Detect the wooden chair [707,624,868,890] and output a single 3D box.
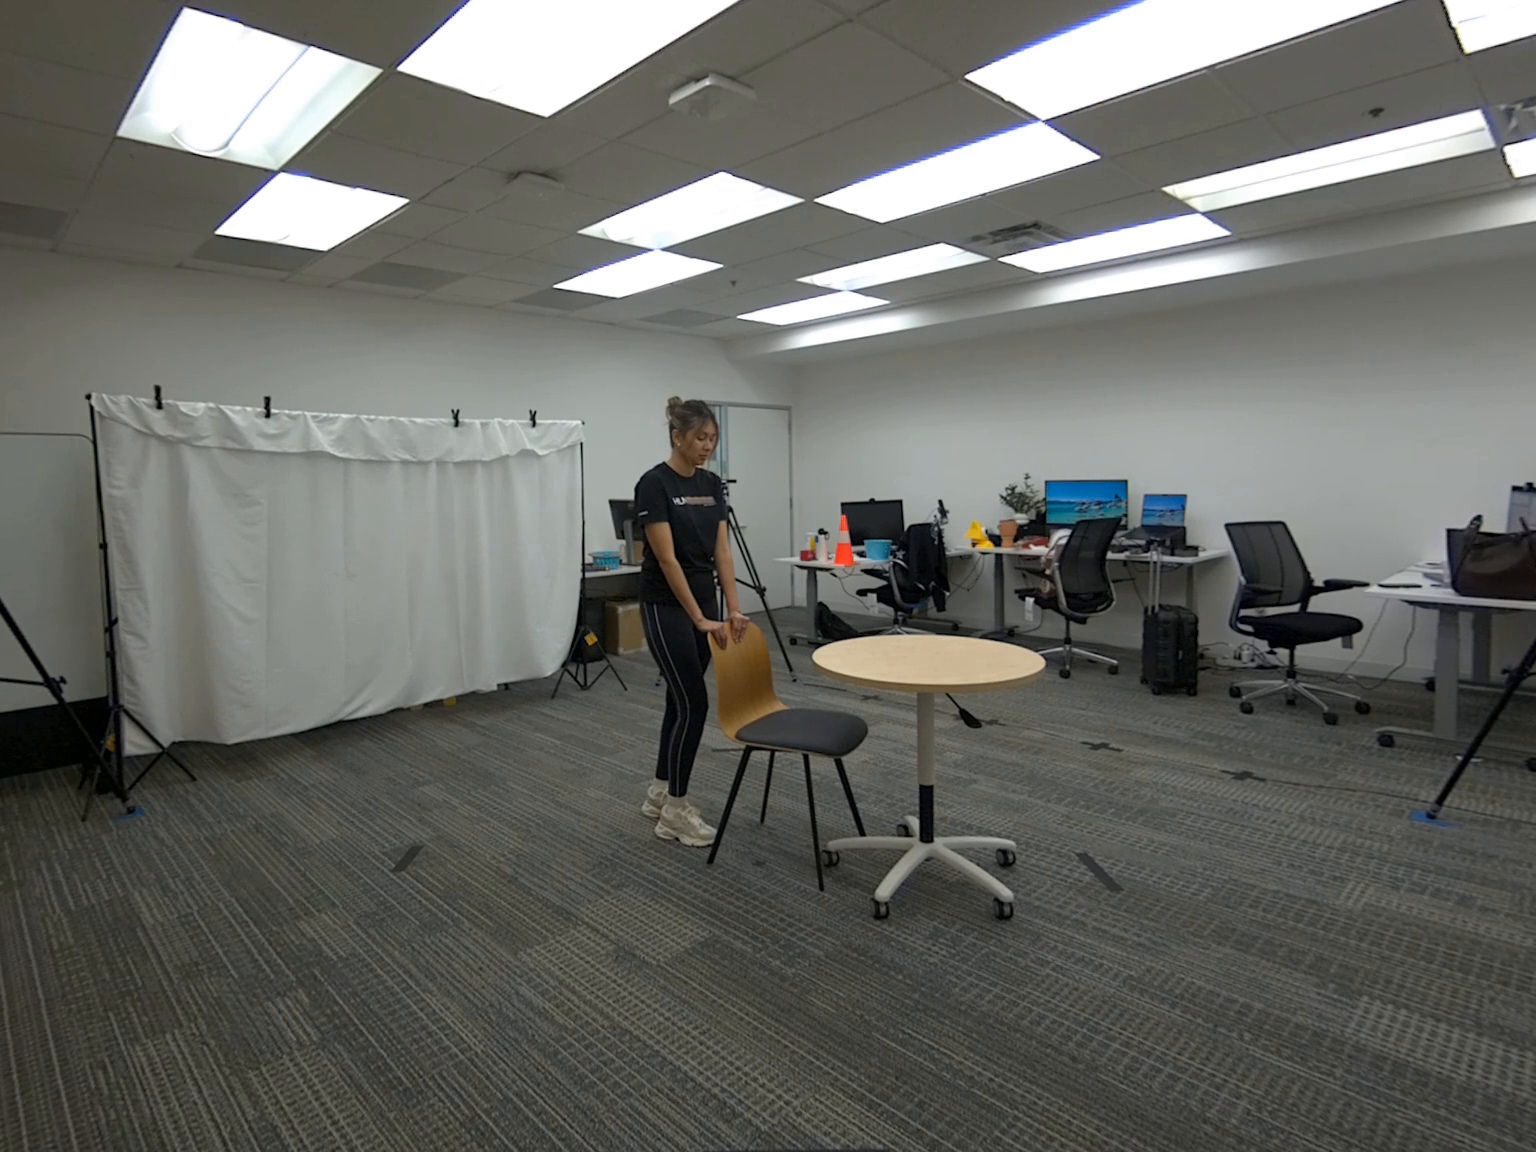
[{"bbox_3d":[0.080,0.610,3.160,0.535,0.876,0.468,-3,2,28],"label":"wooden chair"}]
